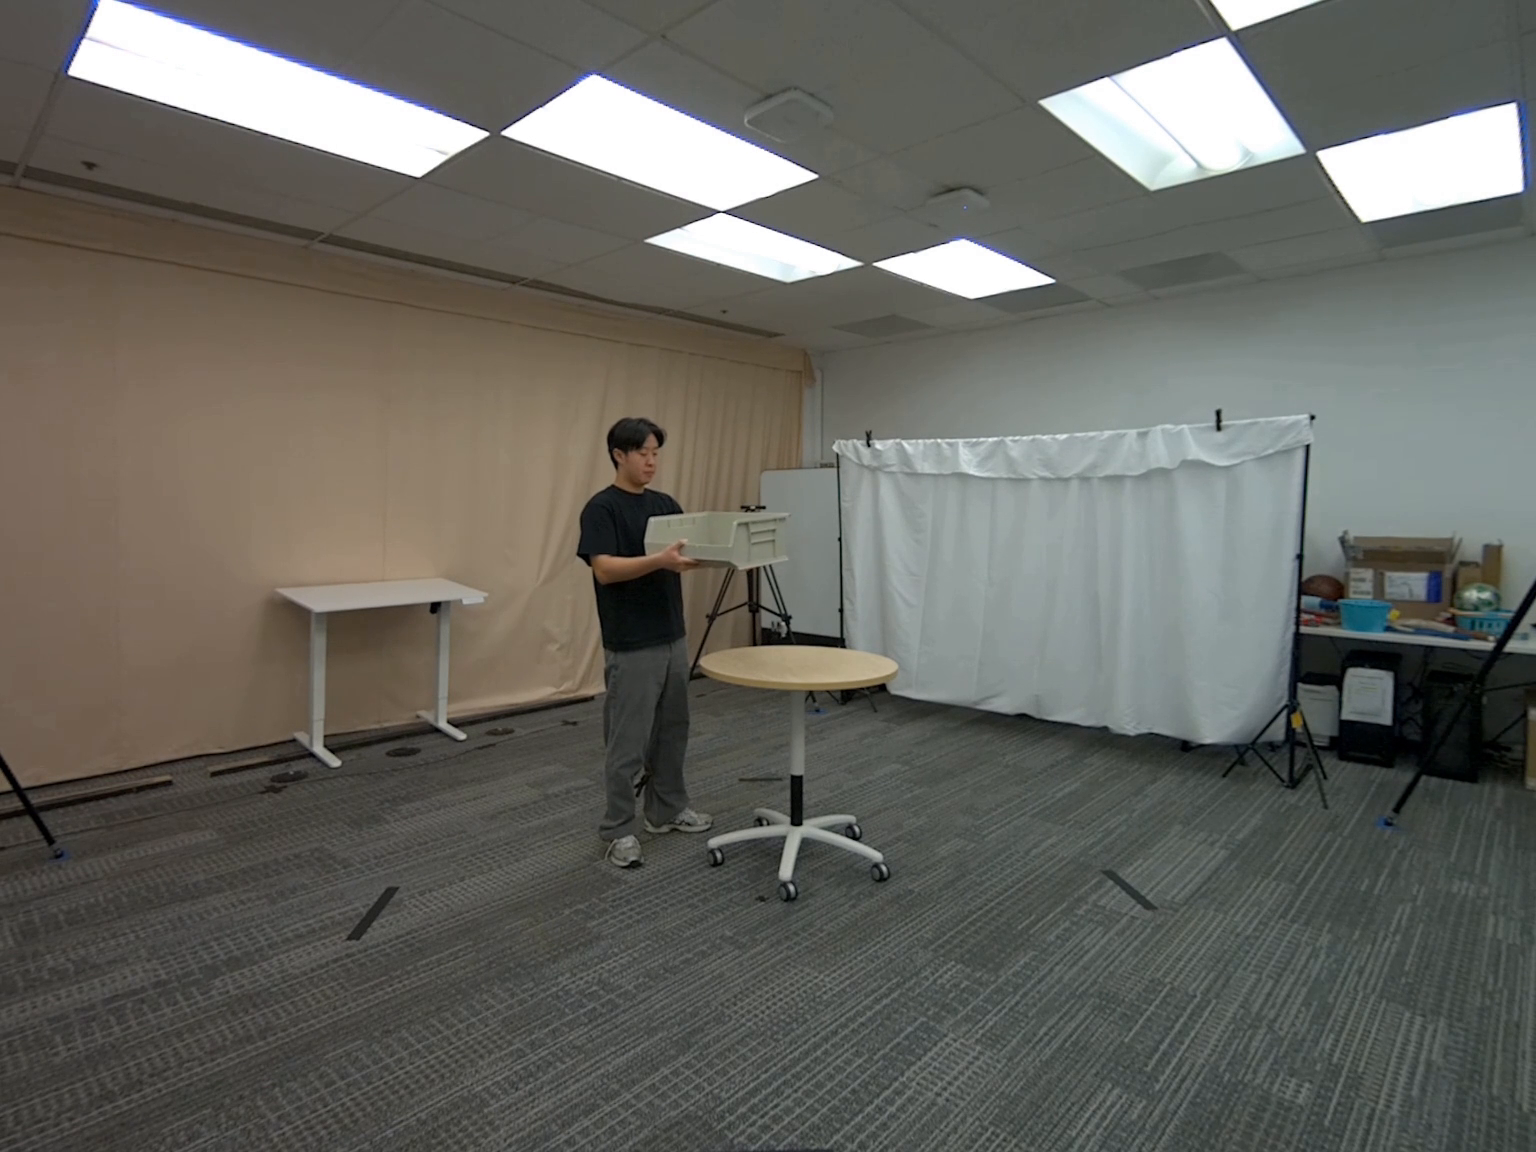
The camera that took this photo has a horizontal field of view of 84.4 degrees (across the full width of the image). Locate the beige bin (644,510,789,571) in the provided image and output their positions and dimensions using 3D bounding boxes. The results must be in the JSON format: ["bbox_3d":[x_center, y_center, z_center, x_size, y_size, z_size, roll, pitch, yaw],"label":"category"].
[{"bbox_3d":[-0.185,-0.138,3.201,0.436,0.188,0.367,4,9,37],"label":"beige bin"}]
